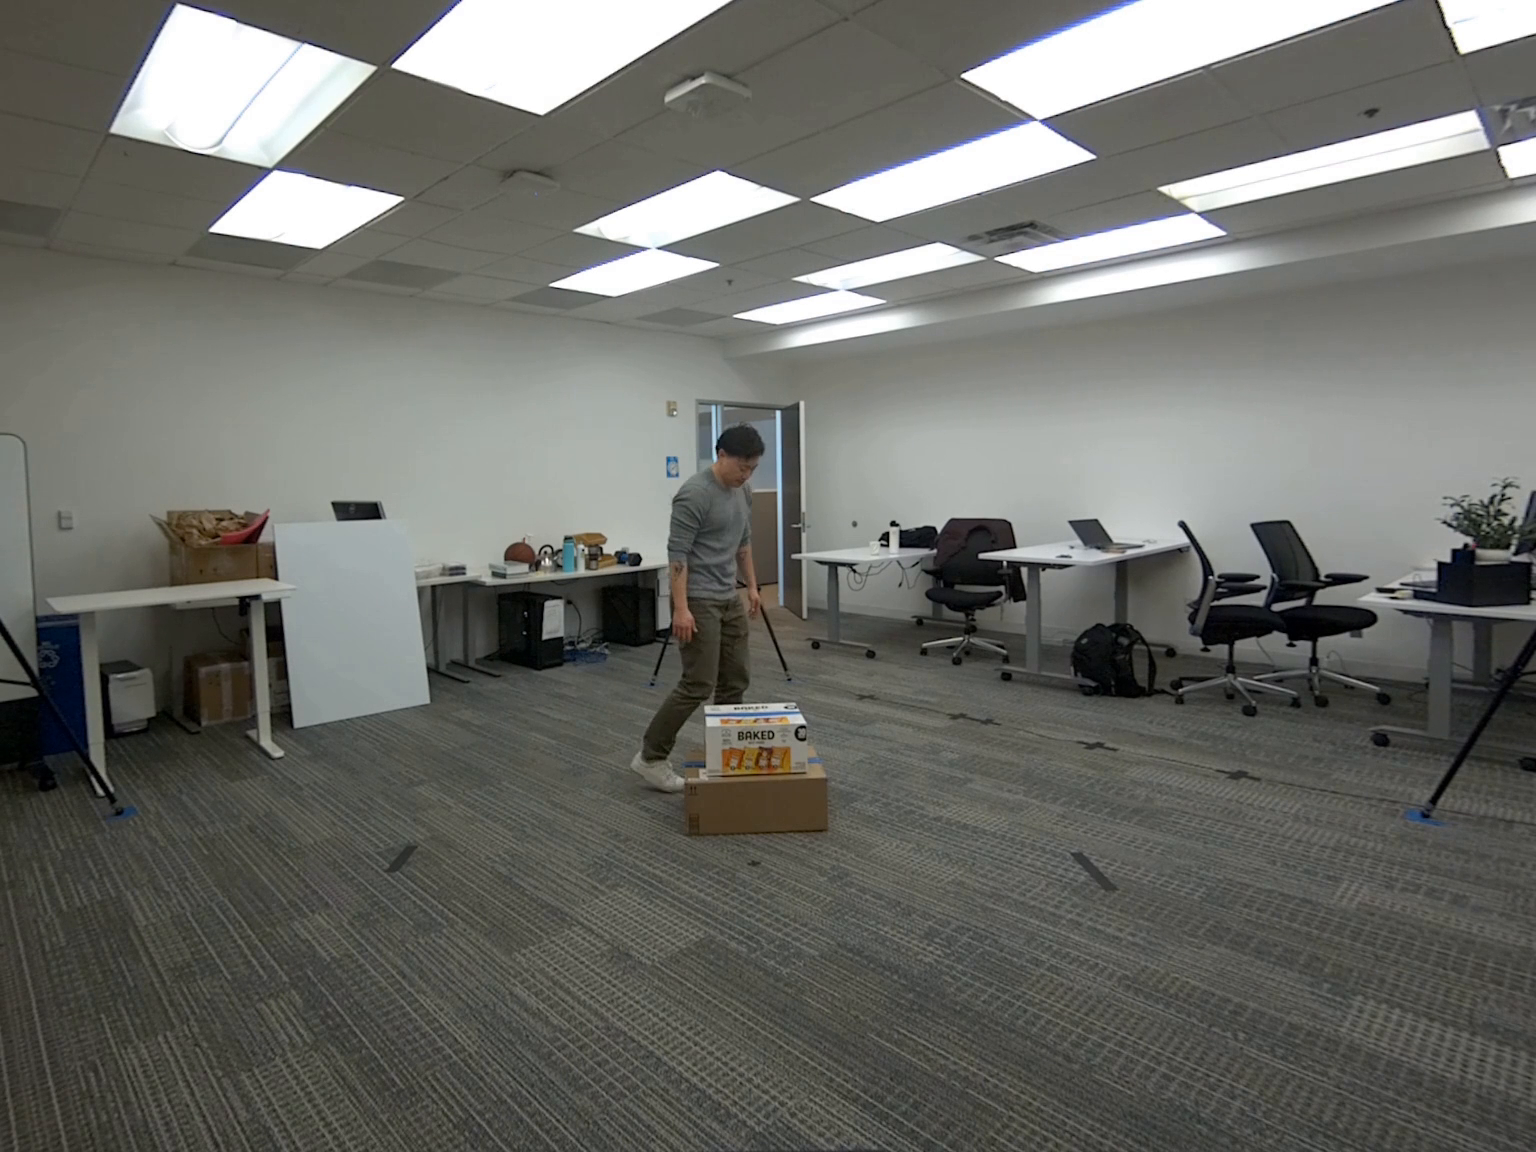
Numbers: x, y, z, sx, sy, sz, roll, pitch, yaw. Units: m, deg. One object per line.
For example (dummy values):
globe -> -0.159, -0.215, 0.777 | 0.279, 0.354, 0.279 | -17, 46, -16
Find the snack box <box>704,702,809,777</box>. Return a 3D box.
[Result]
snack box -> -0.059, 0.676, 3.565 | 0.403, 0.205, 0.343 | -1, 5, -5
